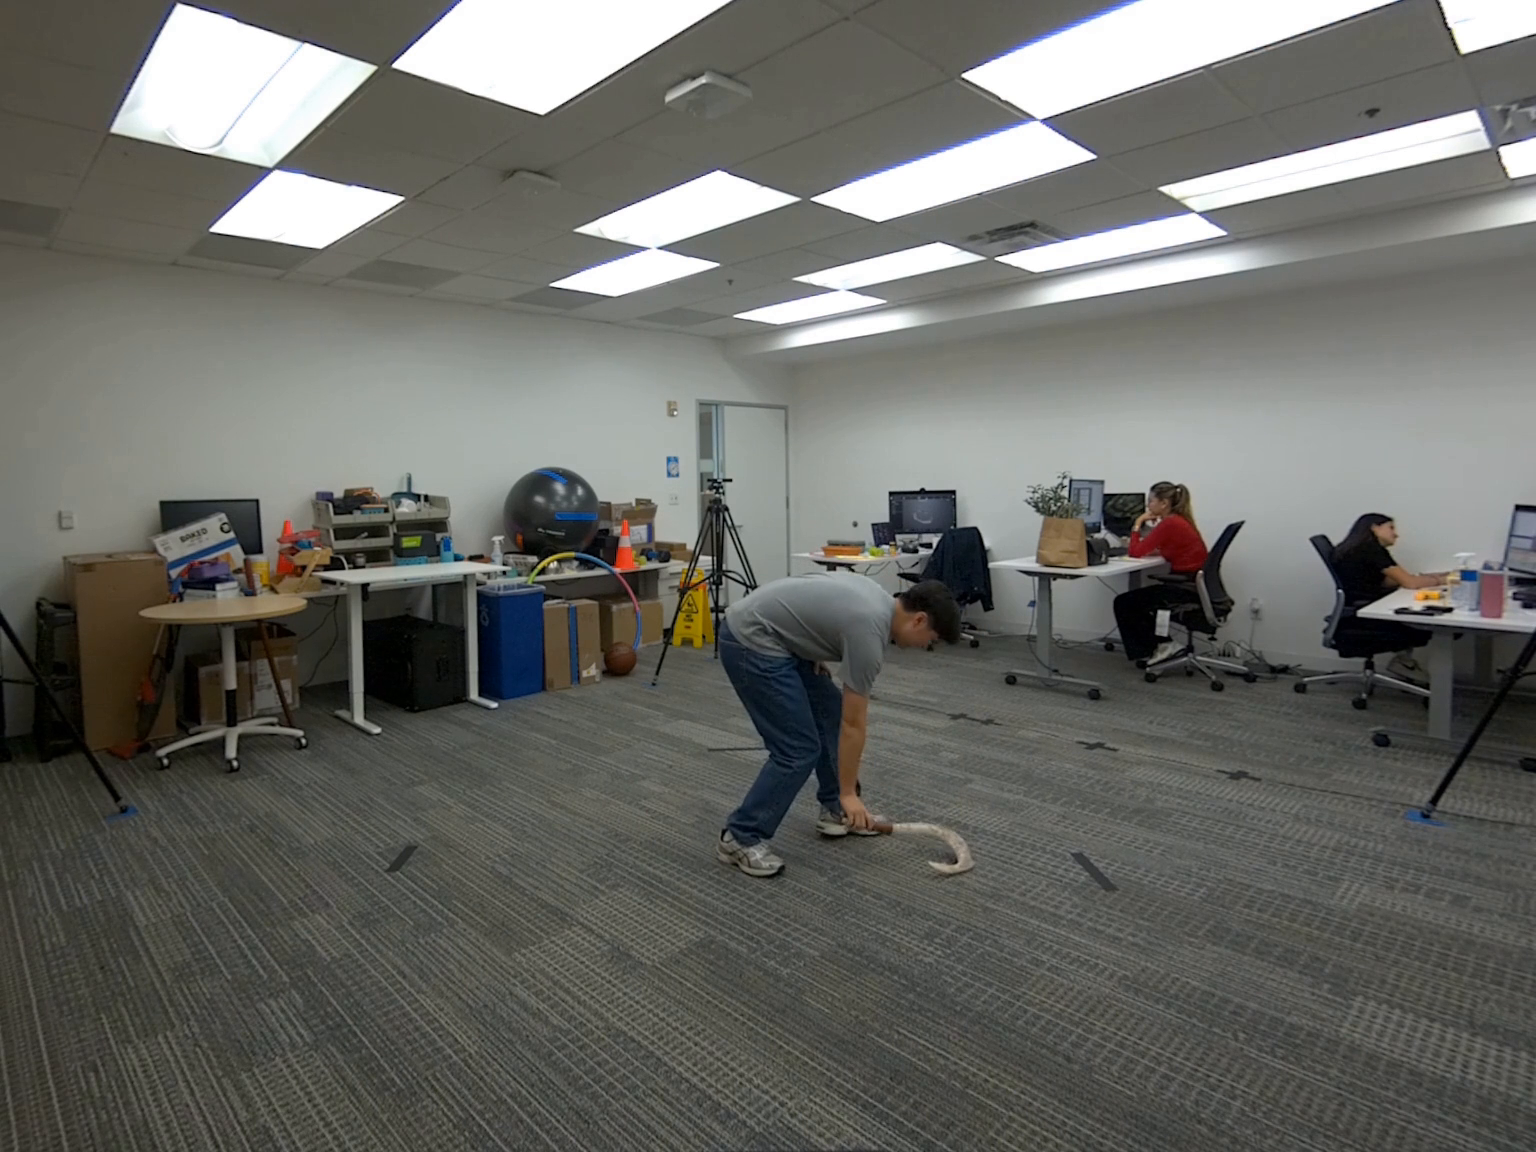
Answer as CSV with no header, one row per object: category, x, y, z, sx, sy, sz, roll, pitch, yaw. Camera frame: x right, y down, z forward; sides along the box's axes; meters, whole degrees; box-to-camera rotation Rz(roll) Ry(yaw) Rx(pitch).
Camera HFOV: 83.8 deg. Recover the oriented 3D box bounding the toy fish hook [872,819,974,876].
toy fish hook,0.503,0.944,3.038,0.500,0.048,0.230,13,20,-11
